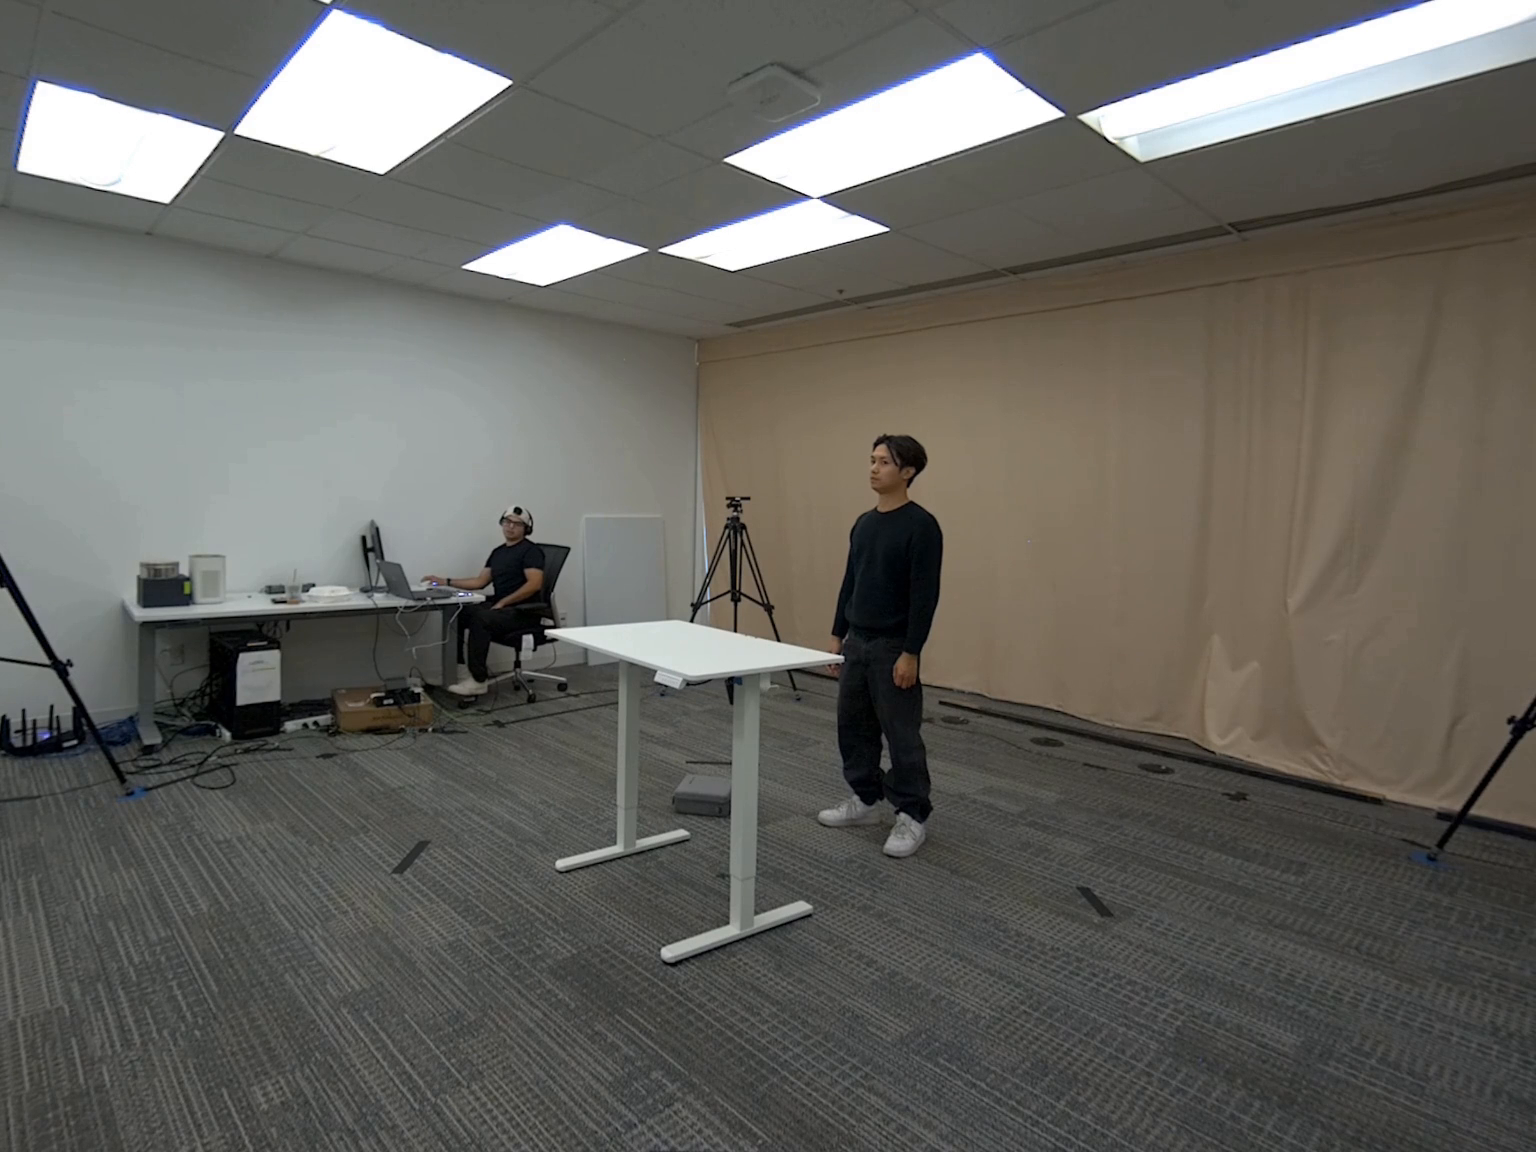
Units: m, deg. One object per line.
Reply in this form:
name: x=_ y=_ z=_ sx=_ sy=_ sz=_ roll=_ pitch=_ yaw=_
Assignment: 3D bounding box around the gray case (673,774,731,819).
gray case: x=-0.282 y=0.977 z=3.805 sx=0.263 sy=0.104 sz=0.255 roll=2 pitch=4 yaw=10
